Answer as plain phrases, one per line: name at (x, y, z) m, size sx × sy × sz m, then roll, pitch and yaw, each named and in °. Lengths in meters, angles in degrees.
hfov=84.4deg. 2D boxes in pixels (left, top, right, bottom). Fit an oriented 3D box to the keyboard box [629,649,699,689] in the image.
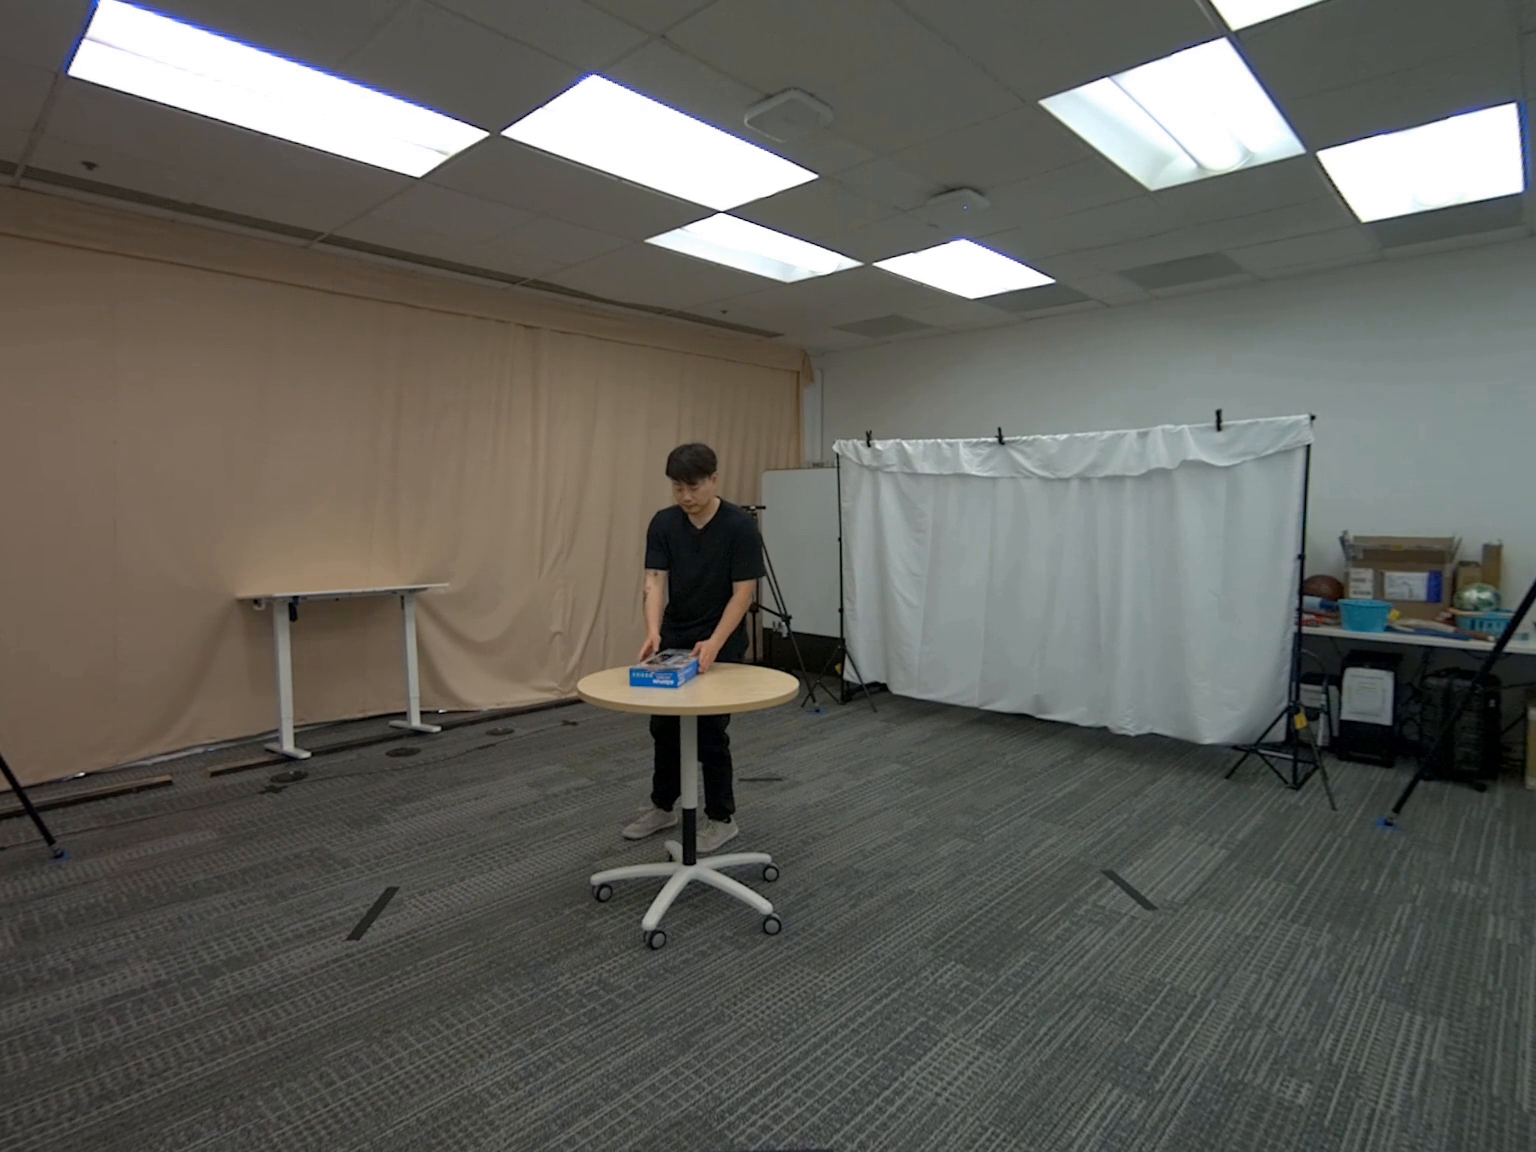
keyboard box at (-0.347, 0.331, 3.038) m, size 0.178 × 0.059 × 0.432 m, roll 0°, pitch 4°, yaw 10°
